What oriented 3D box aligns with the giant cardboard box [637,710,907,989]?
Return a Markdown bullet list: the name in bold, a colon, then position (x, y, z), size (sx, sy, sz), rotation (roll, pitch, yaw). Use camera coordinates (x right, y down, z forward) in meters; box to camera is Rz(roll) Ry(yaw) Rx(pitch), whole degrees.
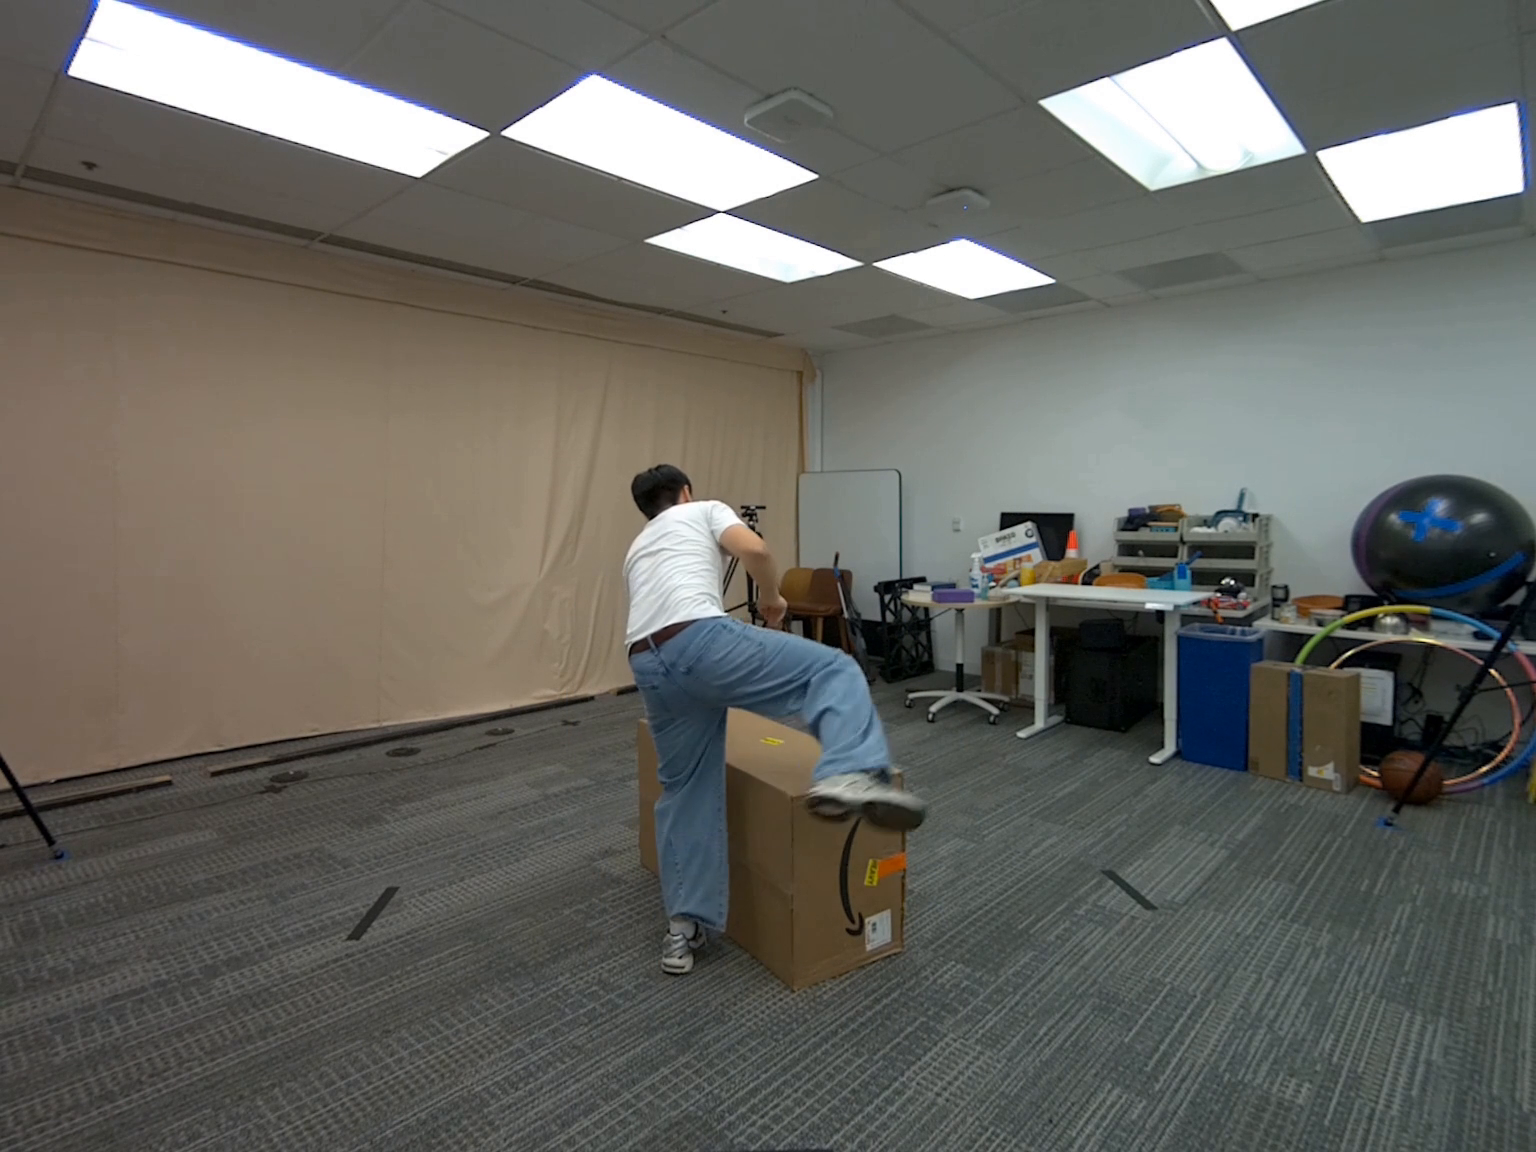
- **giant cardboard box**: position (-0.034, 0.862, 2.939), size (0.414, 0.576, 1.057), rotation (-3, 5, -33)
